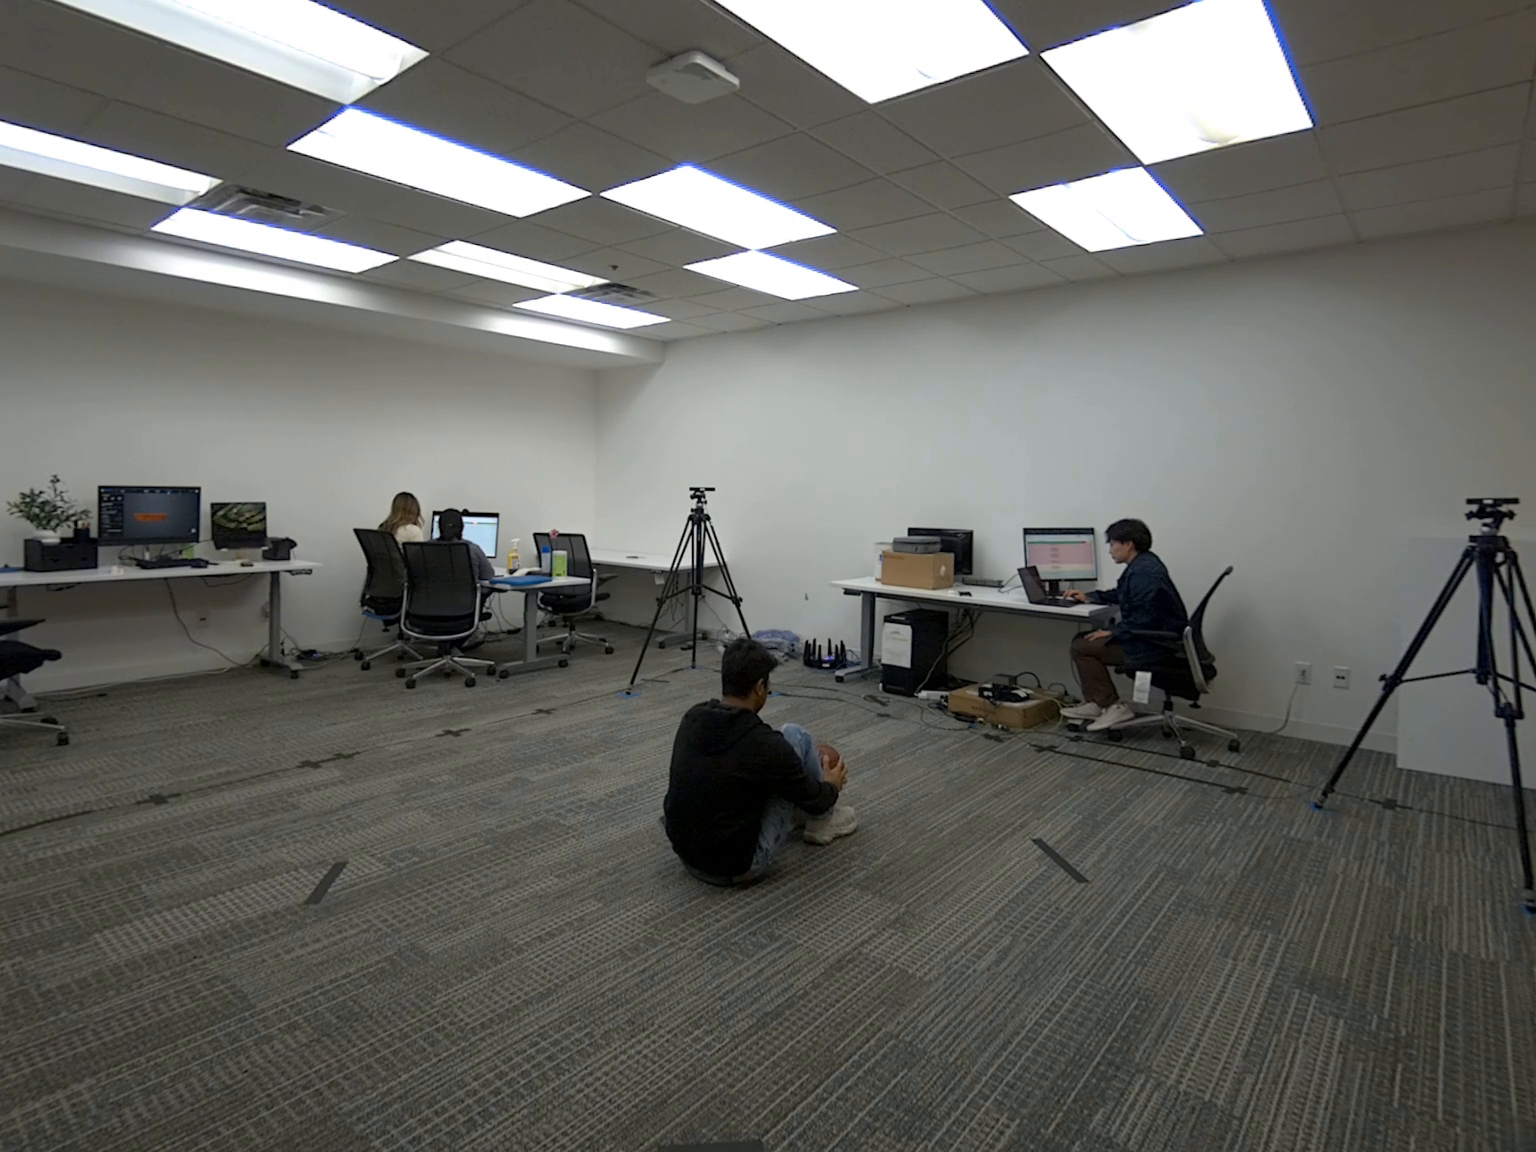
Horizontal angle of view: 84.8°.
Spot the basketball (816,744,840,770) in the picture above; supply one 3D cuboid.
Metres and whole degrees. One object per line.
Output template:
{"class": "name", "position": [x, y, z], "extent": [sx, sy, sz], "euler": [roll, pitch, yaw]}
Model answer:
{"class": "basketball", "position": [0.186, 0.795, 3.500], "extent": [0.235, 0.235, 0.237], "euler": [1, 4, -2]}
